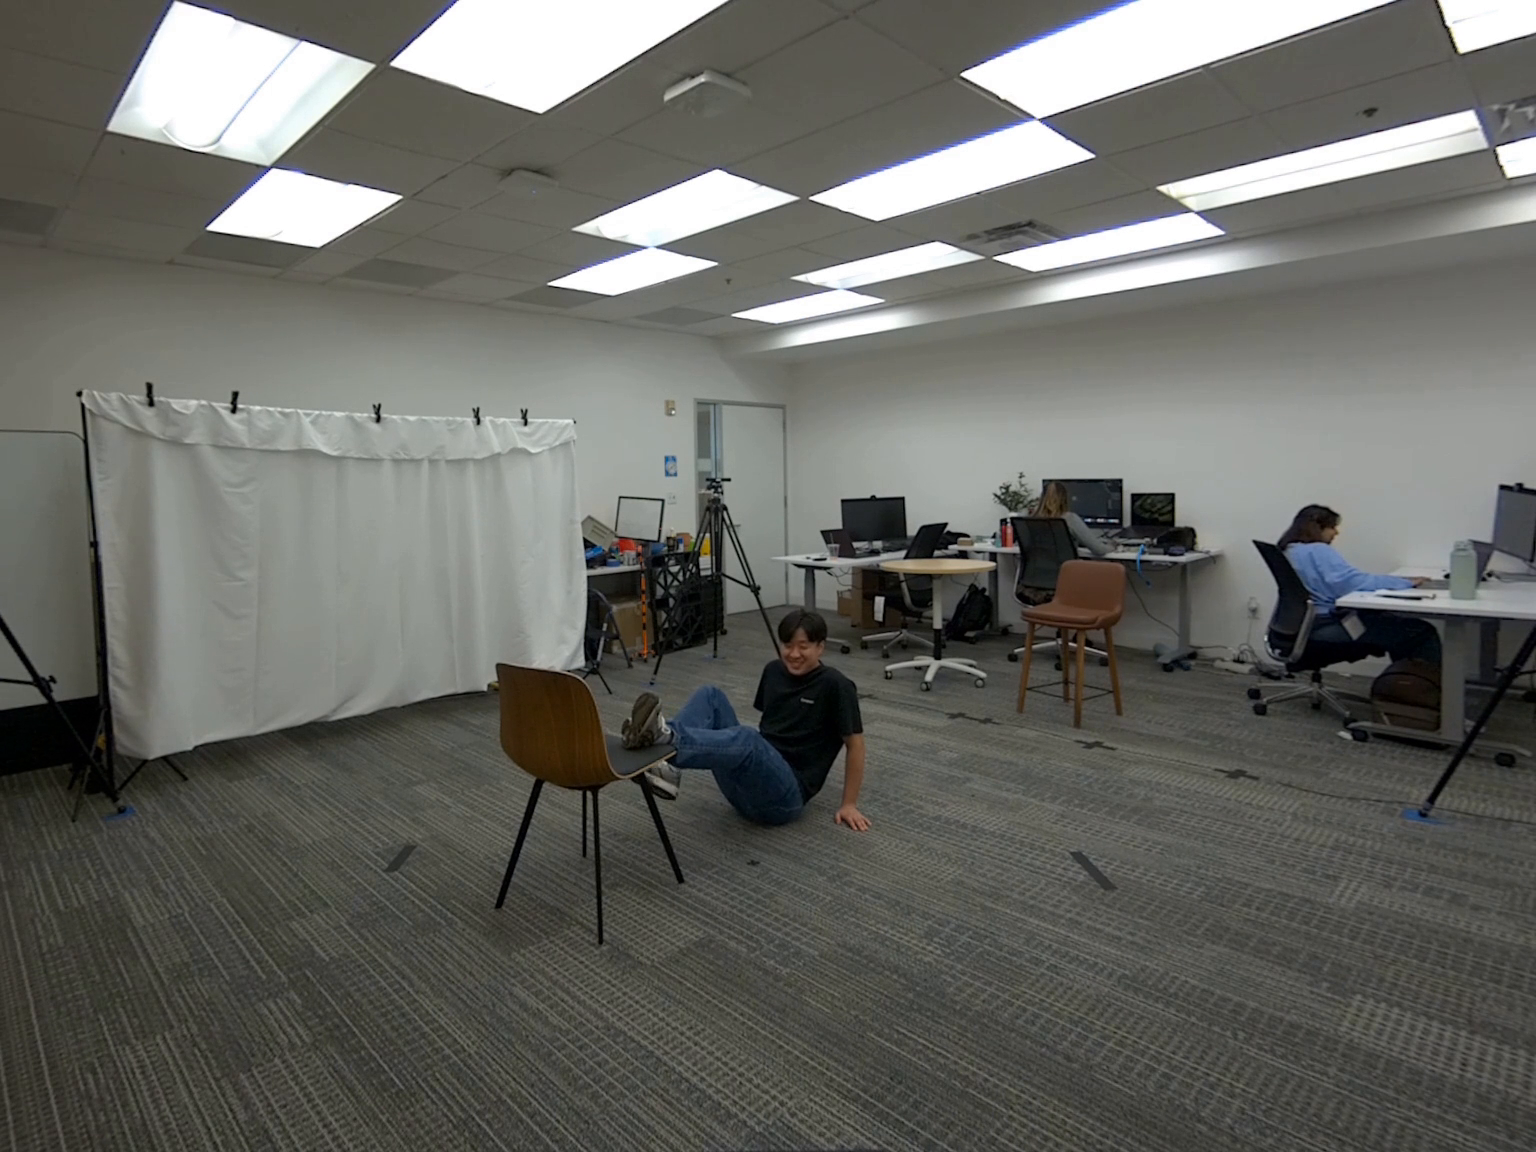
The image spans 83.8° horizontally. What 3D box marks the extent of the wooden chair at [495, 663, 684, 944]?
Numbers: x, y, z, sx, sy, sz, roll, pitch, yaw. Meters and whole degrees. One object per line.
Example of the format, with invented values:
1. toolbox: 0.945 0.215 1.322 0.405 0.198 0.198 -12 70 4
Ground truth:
1. wooden chair: -0.593 0.655 2.855 0.491 0.871 0.513 2 9 30
